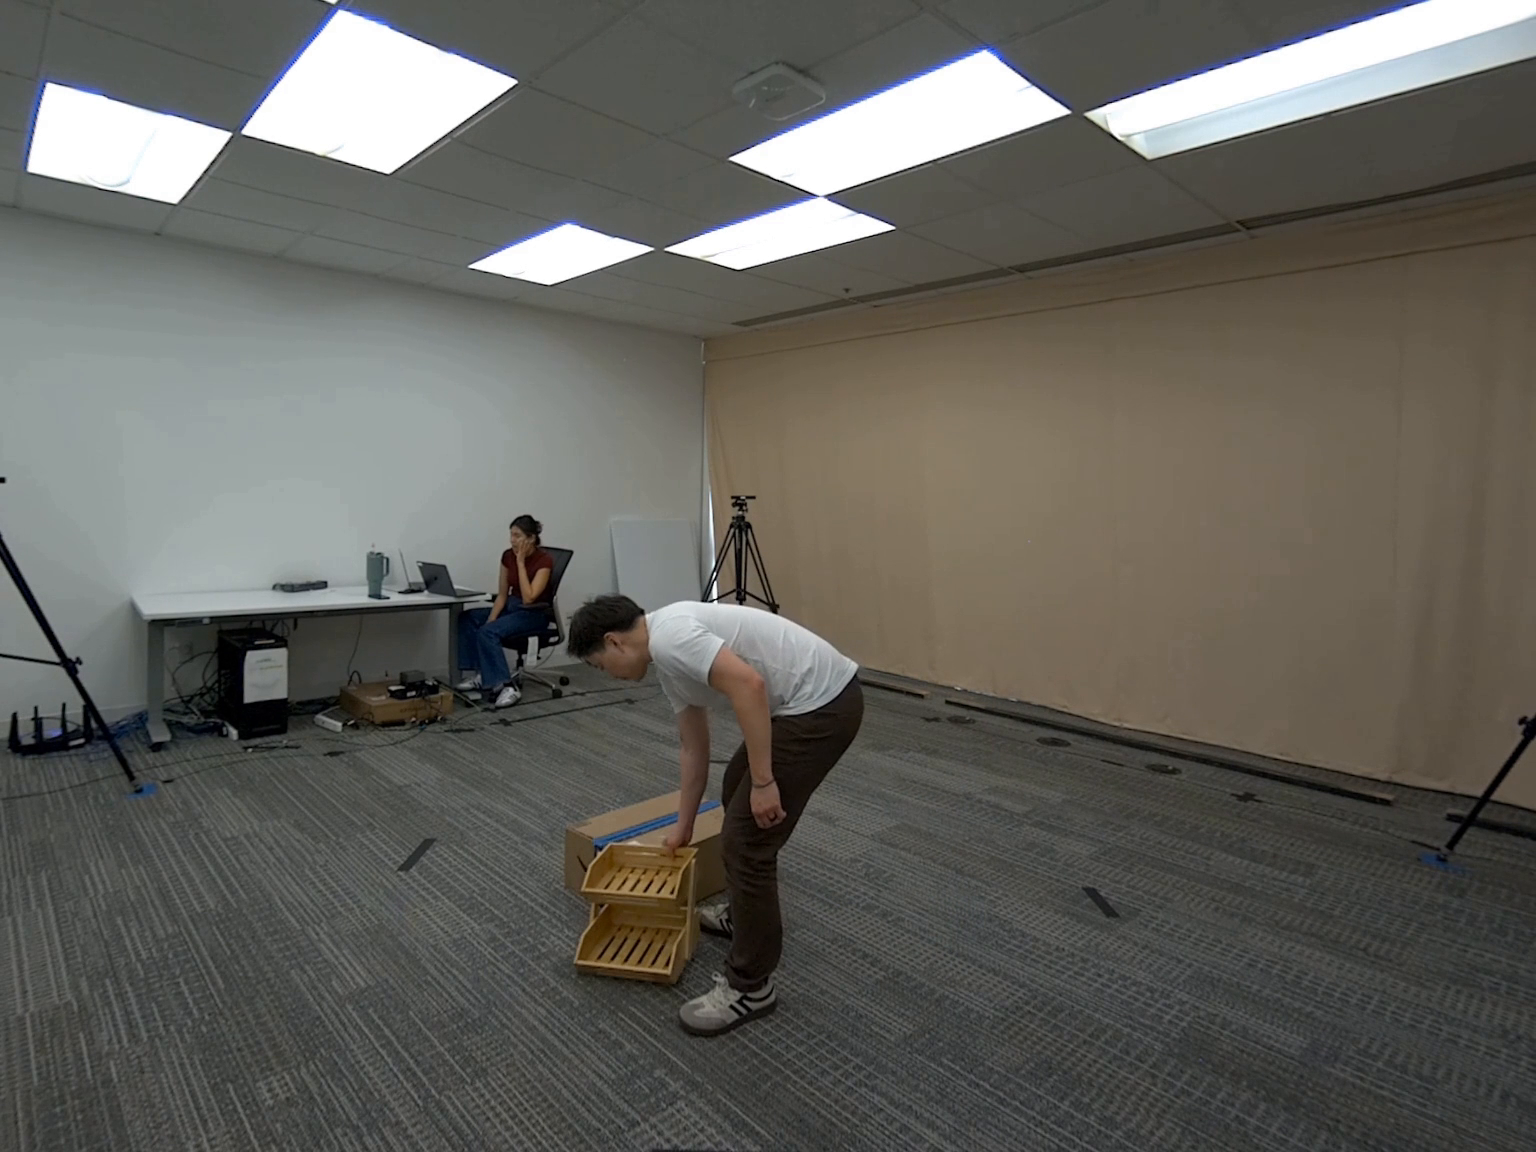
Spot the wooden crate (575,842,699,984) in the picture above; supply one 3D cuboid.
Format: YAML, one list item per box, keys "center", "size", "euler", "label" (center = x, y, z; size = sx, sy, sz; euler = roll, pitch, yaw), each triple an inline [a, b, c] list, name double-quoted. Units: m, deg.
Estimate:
- center: [-0.393, 0.994, 2.490]
  size: [0.328, 0.272, 0.300]
  euler: [-2, 6, 14]
  label: "wooden crate"
